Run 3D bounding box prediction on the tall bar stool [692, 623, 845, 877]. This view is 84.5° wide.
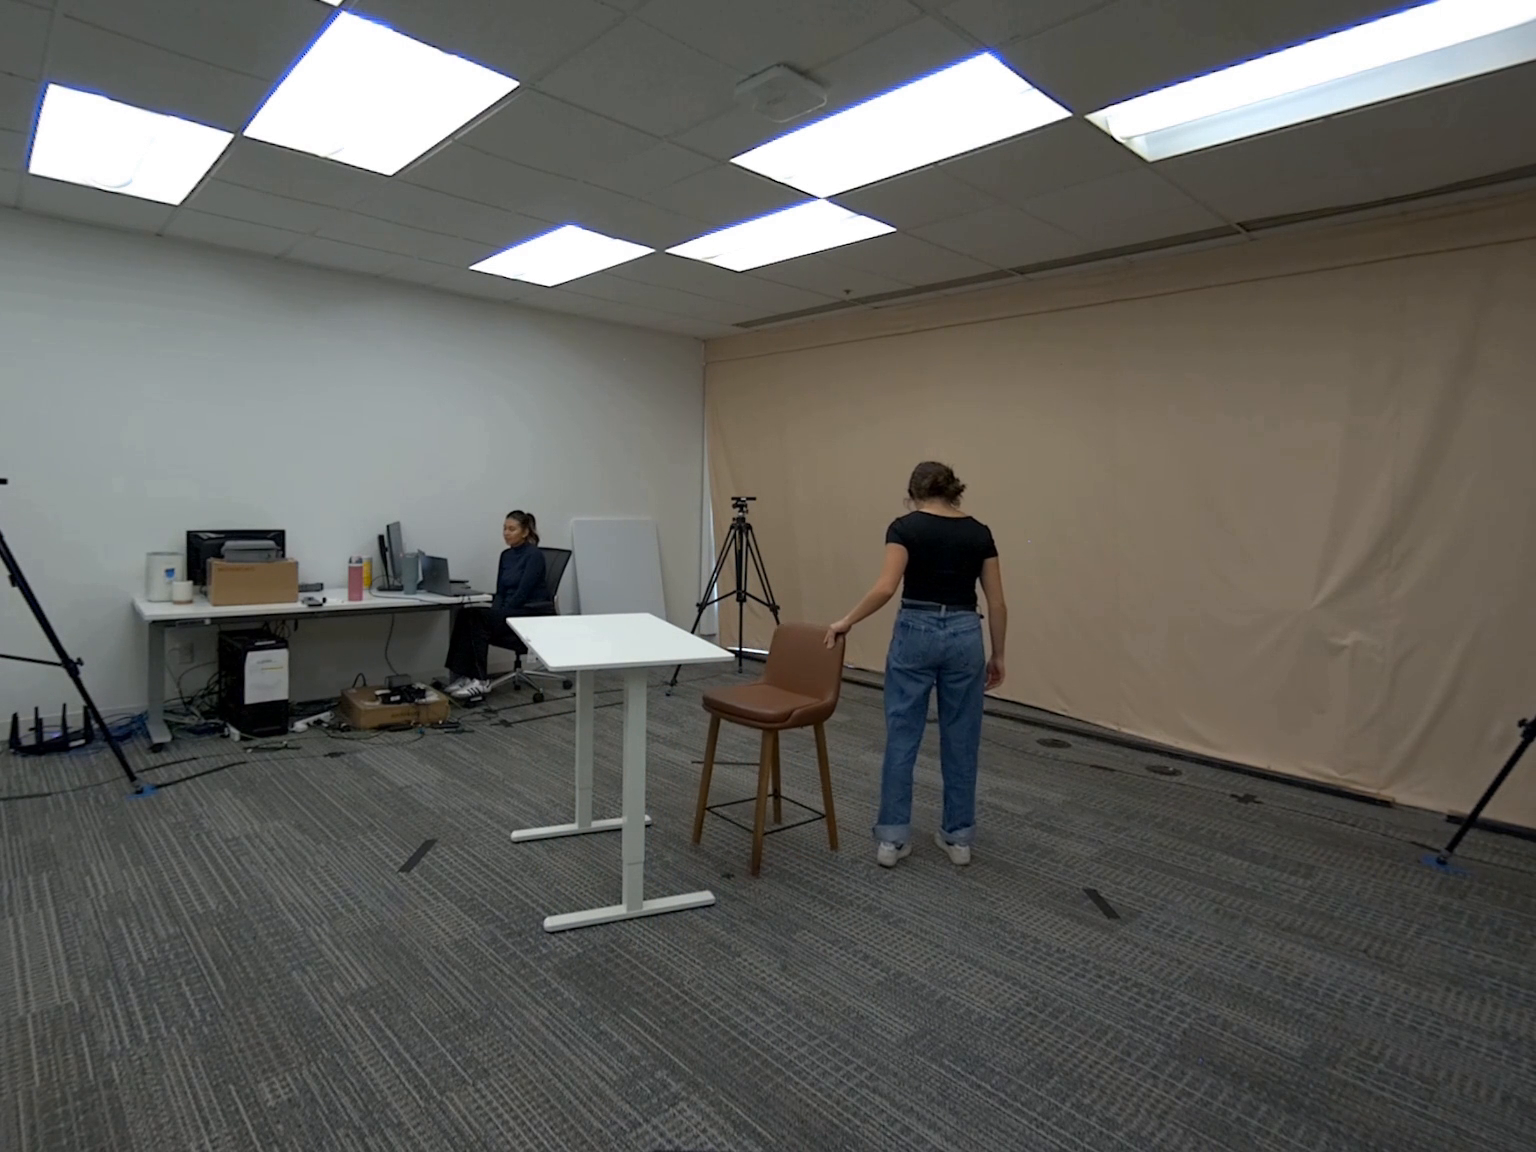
[{"bbox_3d":[0.004,0.649,3.356,0.456,0.889,0.468,3,1,-39],"label":"tall bar stool"}]
